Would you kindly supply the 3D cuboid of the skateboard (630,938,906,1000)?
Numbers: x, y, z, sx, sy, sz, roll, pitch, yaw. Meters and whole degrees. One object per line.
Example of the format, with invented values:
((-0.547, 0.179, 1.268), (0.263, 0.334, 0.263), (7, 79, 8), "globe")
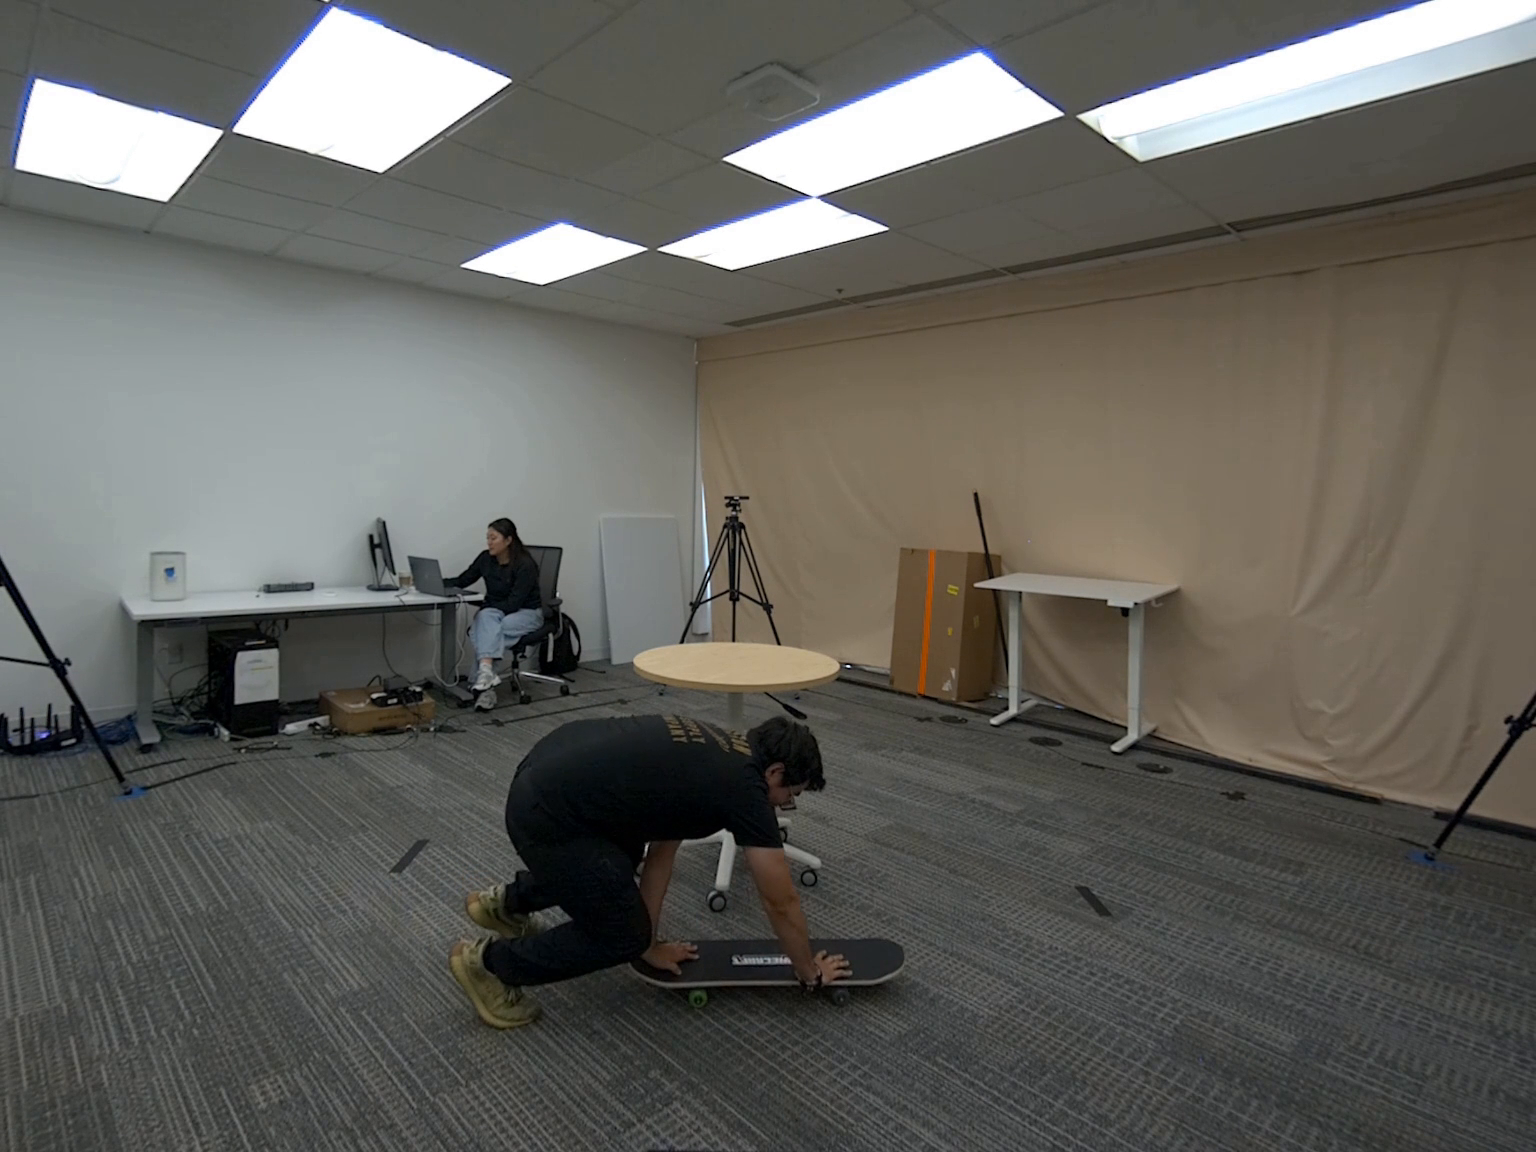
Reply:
((-0.010, 1.122, 2.377), (0.783, 0.109, 0.195), (1, 9, -3), "skateboard")
